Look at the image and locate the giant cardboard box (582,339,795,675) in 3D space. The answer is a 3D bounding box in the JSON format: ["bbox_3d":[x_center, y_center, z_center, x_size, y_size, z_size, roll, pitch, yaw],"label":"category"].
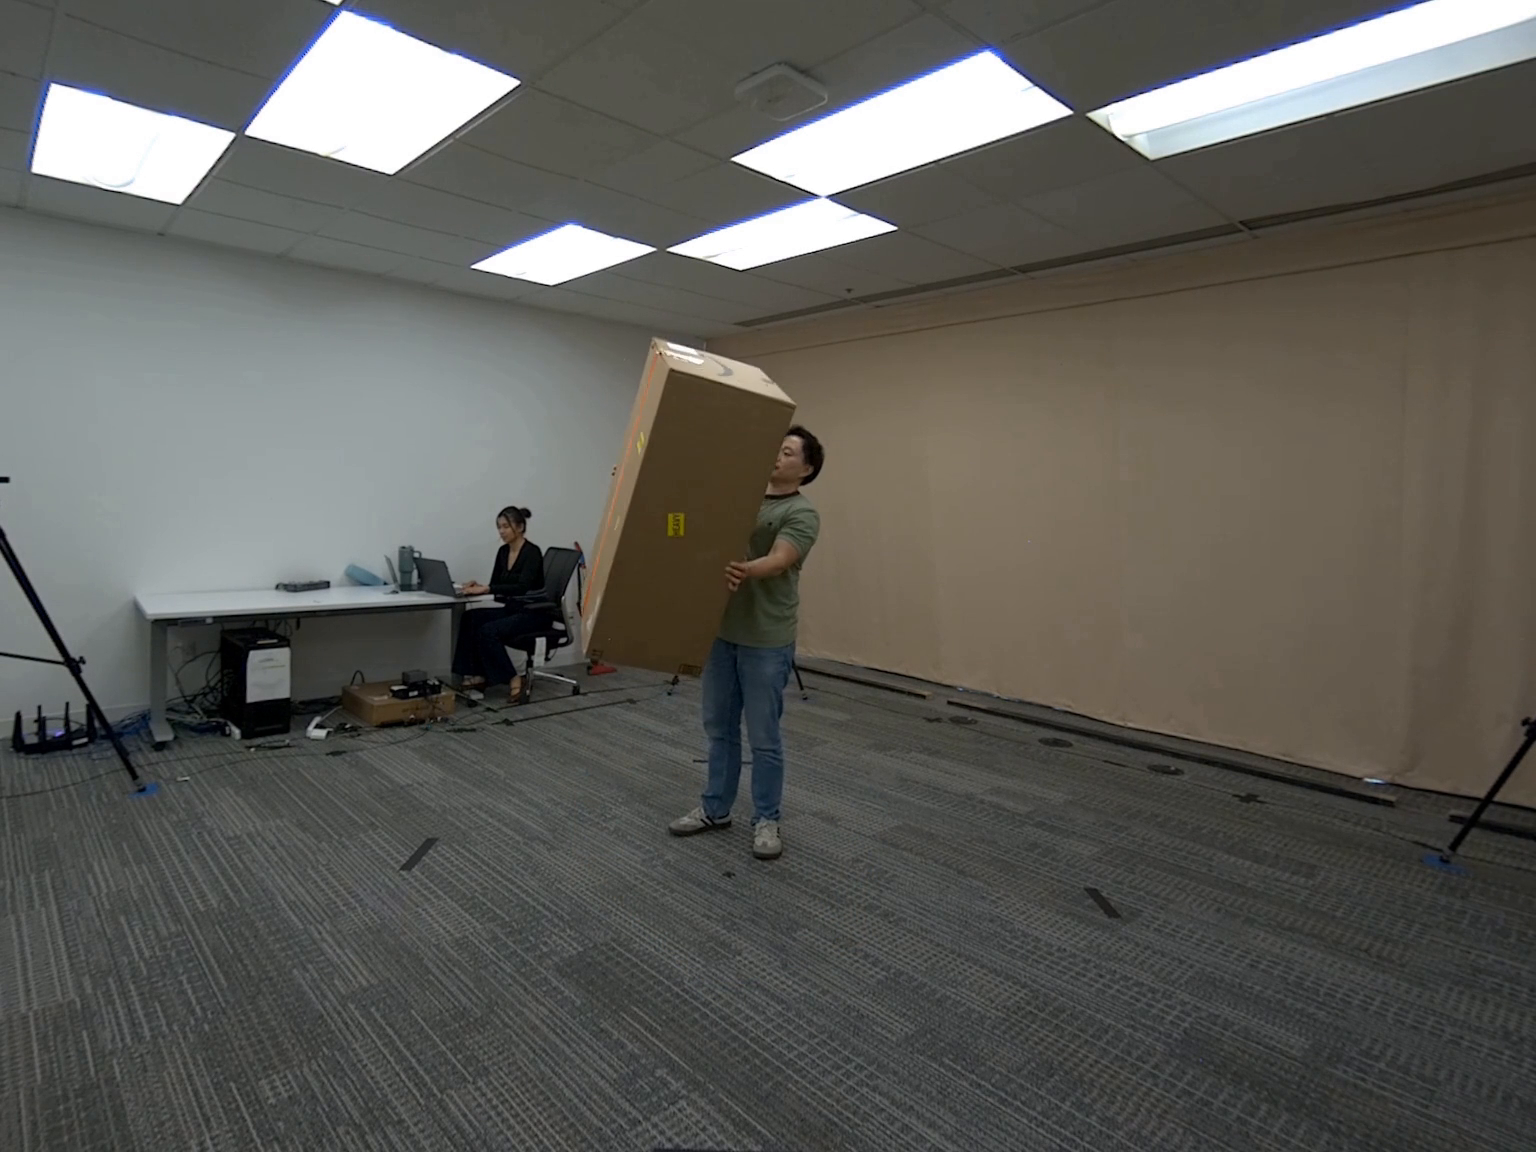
[{"bbox_3d":[-0.329,-0.244,2.987,0.419,1.017,0.592,13,20,-19],"label":"giant cardboard box"}]
